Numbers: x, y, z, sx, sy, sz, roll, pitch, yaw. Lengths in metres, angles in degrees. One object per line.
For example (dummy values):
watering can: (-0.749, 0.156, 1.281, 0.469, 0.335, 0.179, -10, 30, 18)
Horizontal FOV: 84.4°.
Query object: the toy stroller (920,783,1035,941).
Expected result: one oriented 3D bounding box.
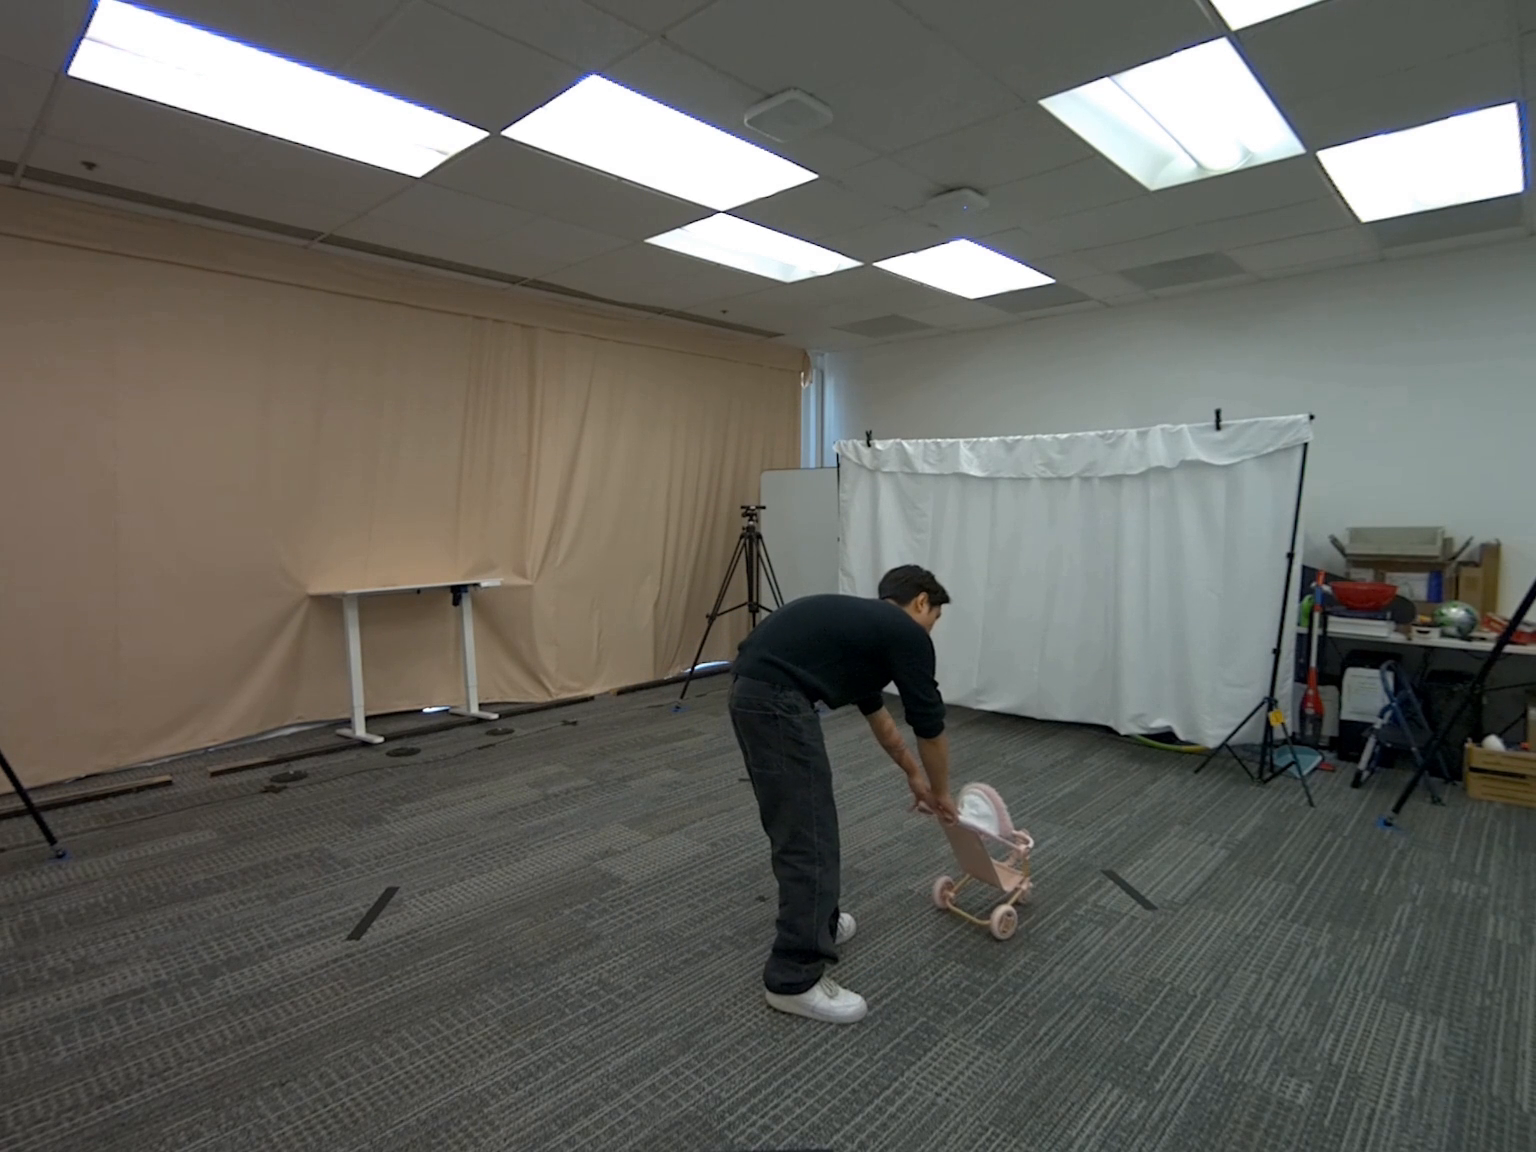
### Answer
toy stroller: (0.728, 0.930, 2.818, 0.335, 0.529, 0.290, -21, 14, -28)
